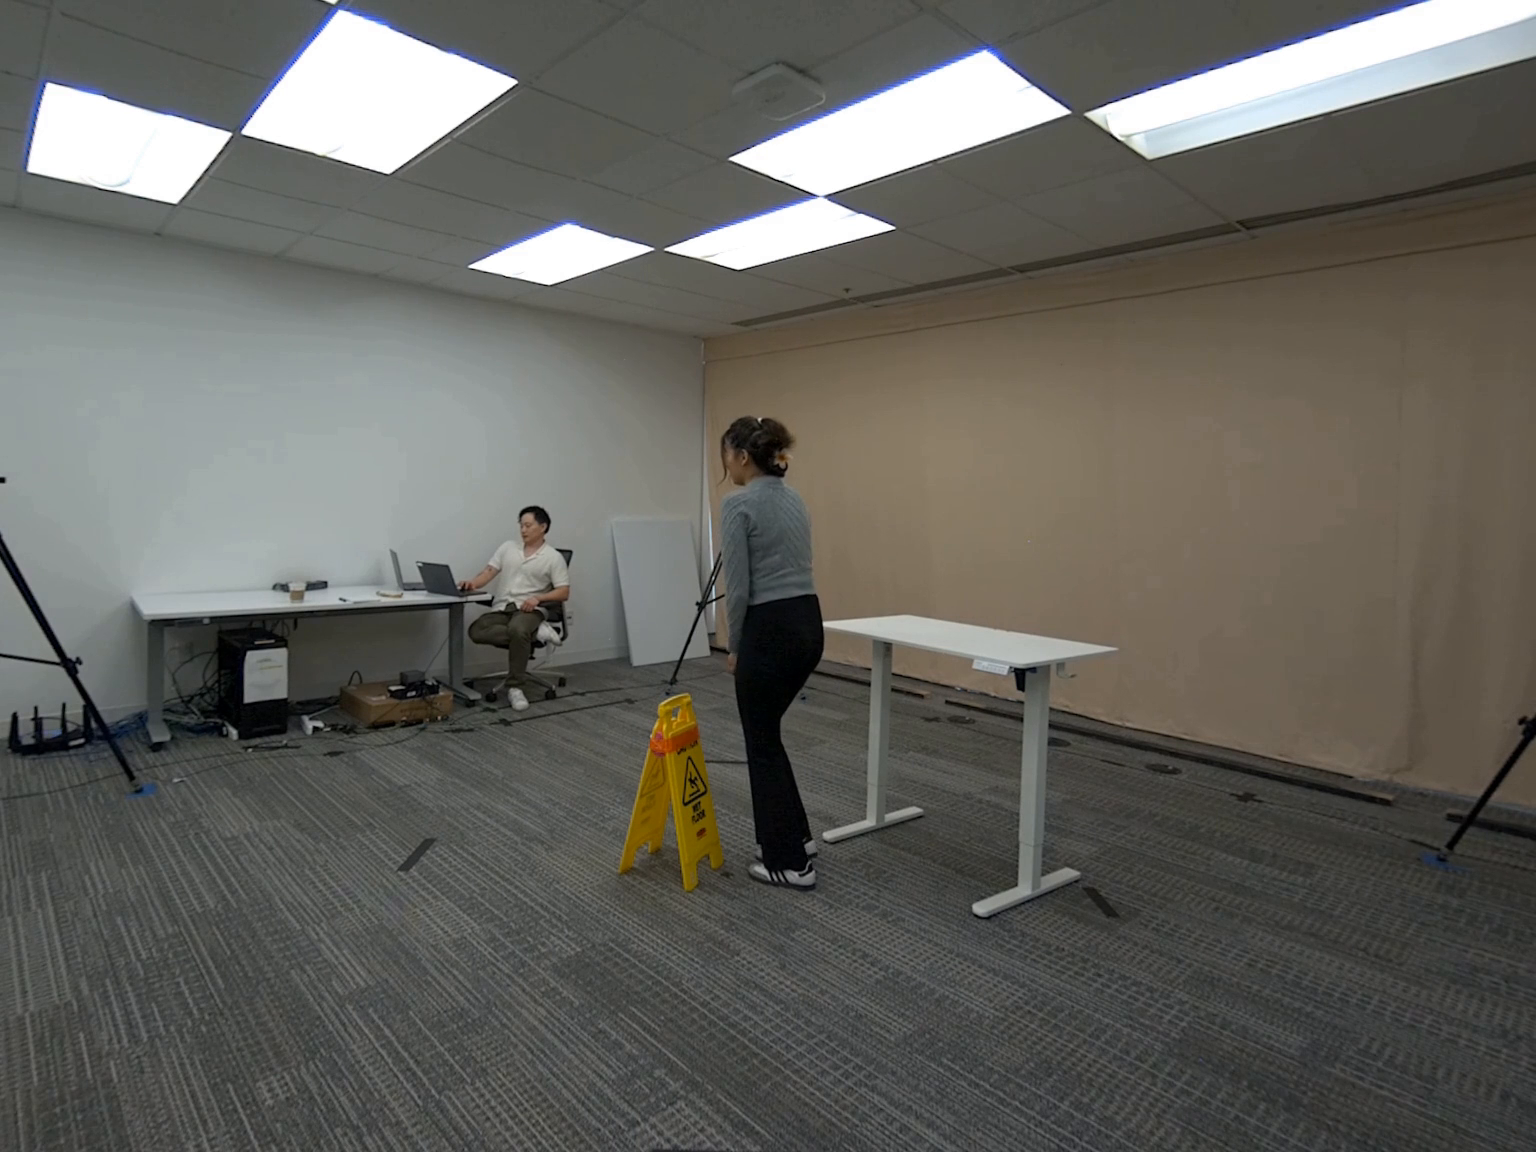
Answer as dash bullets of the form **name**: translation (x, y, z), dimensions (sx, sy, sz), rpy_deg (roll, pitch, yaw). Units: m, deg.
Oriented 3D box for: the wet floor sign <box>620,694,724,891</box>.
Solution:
- **wet floor sign**: translation (-0.358, 0.765, 3.126), dimensions (0.295, 0.645, 0.277), rpy_deg (2, 2, 26)
